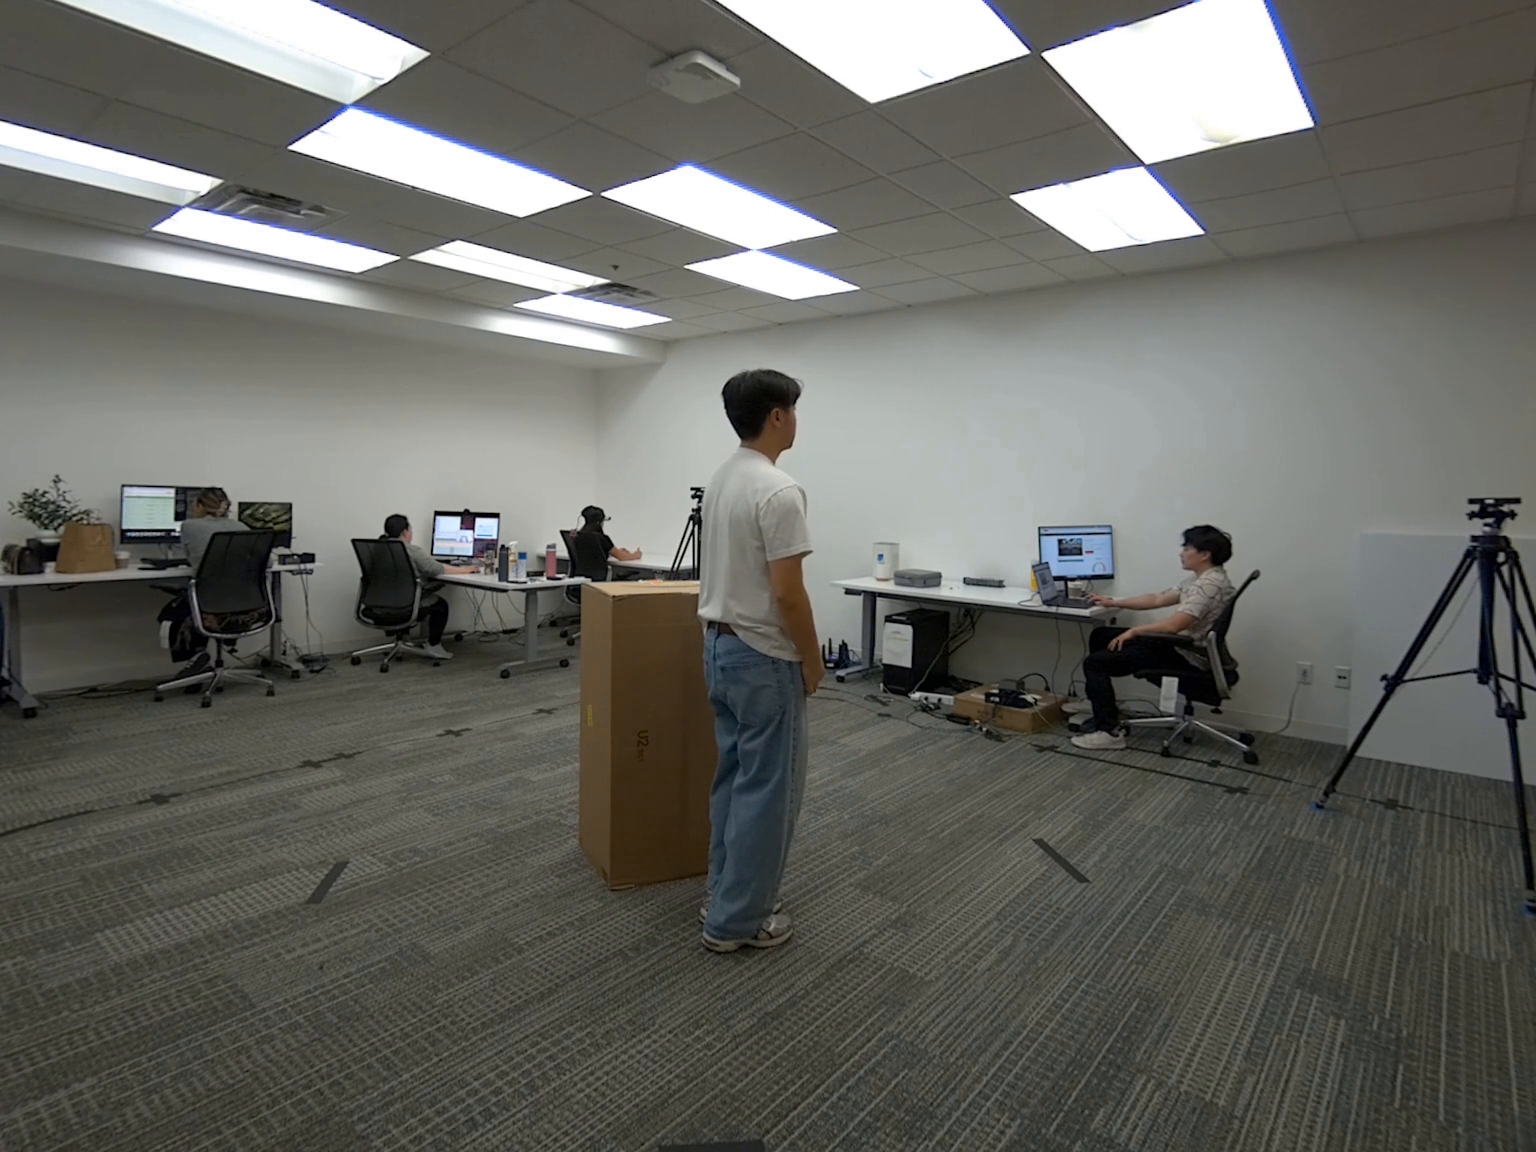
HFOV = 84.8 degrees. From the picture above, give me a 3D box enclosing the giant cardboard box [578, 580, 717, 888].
[{"bbox_3d":[-0.390,0.543,3.200,0.563,1.023,0.438,-1,3,-26],"label":"giant cardboard box"}]
